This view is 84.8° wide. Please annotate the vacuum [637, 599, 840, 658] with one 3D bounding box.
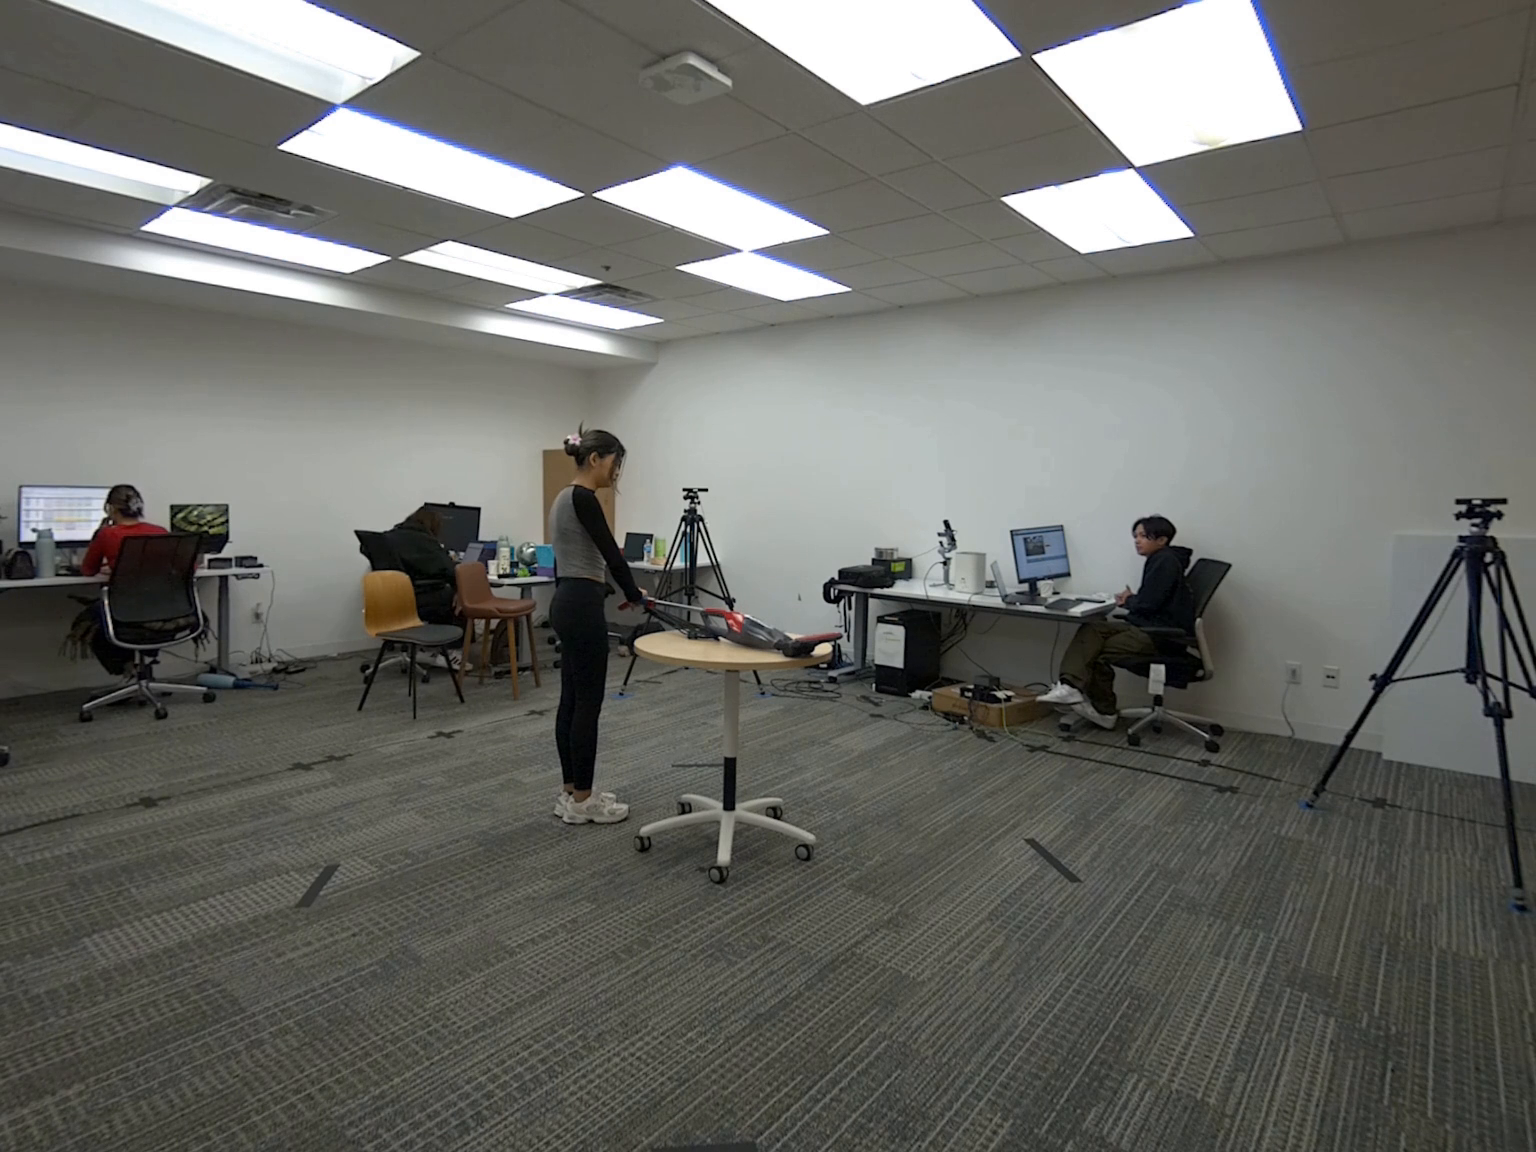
[{"bbox_3d":[-0.250,0.198,3.403,1.086,0.143,0.245,8,9,41],"label":"vacuum"}]
